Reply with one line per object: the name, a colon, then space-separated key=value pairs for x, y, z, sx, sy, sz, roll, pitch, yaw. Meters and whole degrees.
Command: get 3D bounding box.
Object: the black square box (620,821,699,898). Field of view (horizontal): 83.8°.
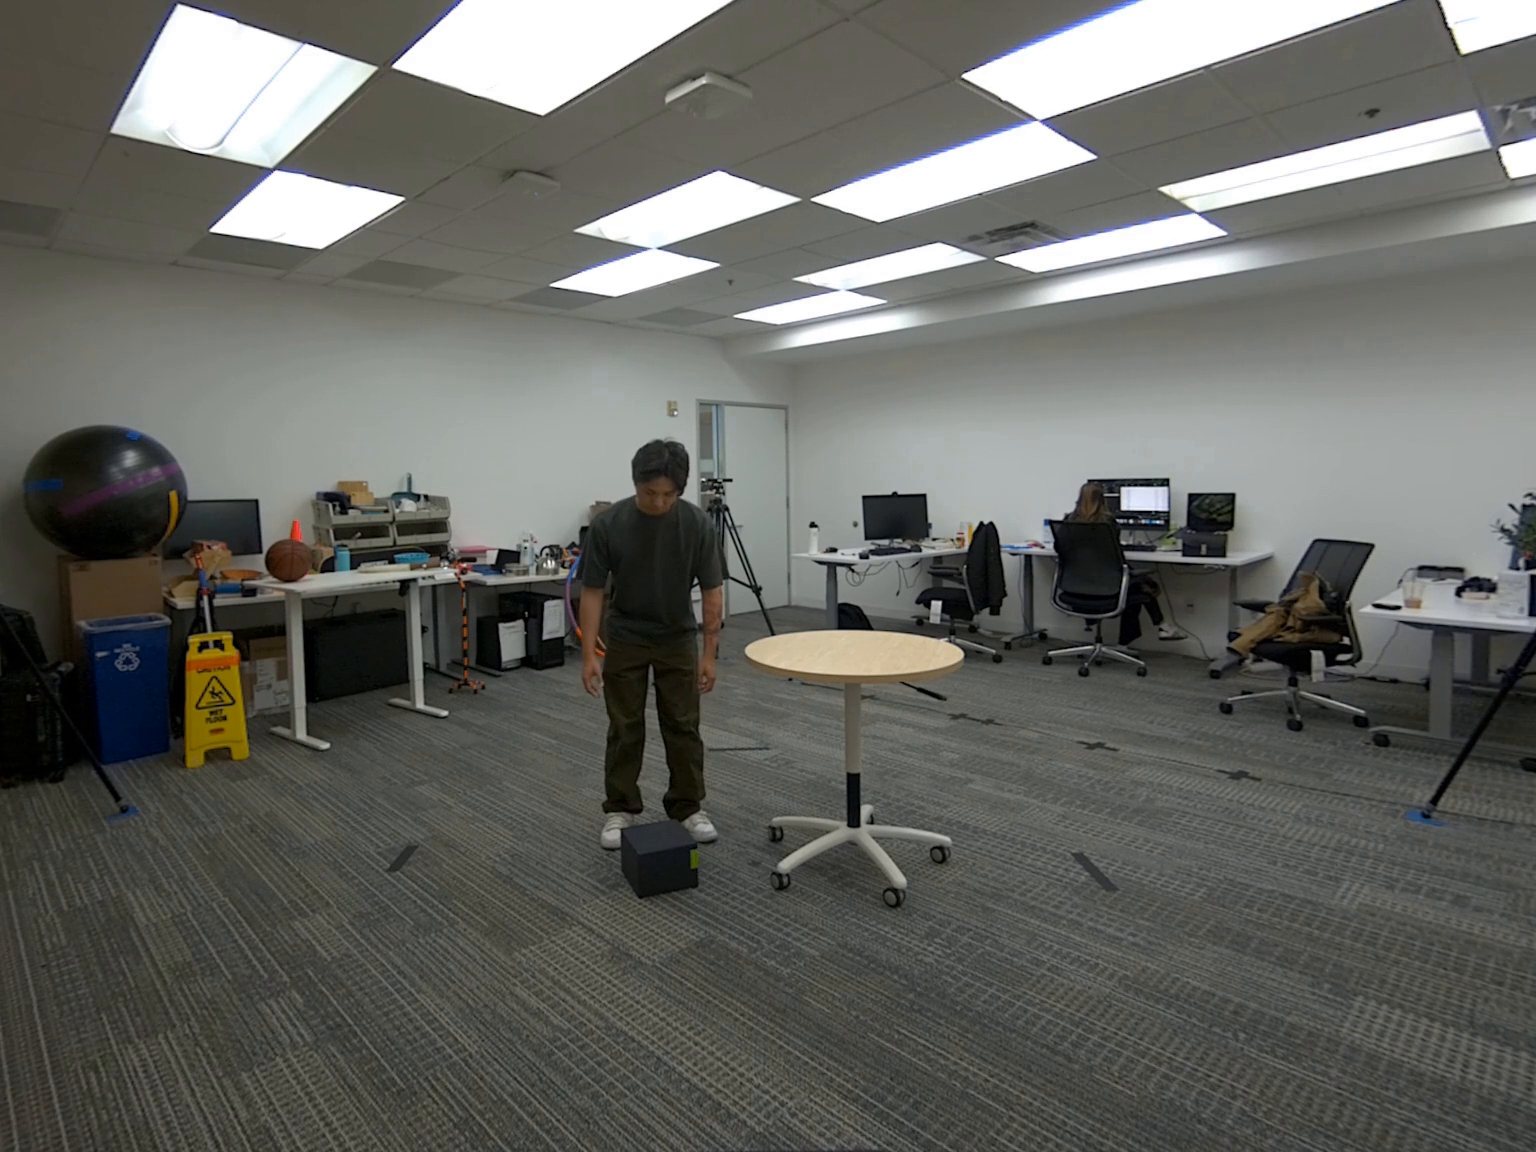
black square box: x=-0.384 y=0.981 z=2.988 sx=0.212 sy=0.155 sz=0.234 roll=-3 pitch=6 yaw=-24
